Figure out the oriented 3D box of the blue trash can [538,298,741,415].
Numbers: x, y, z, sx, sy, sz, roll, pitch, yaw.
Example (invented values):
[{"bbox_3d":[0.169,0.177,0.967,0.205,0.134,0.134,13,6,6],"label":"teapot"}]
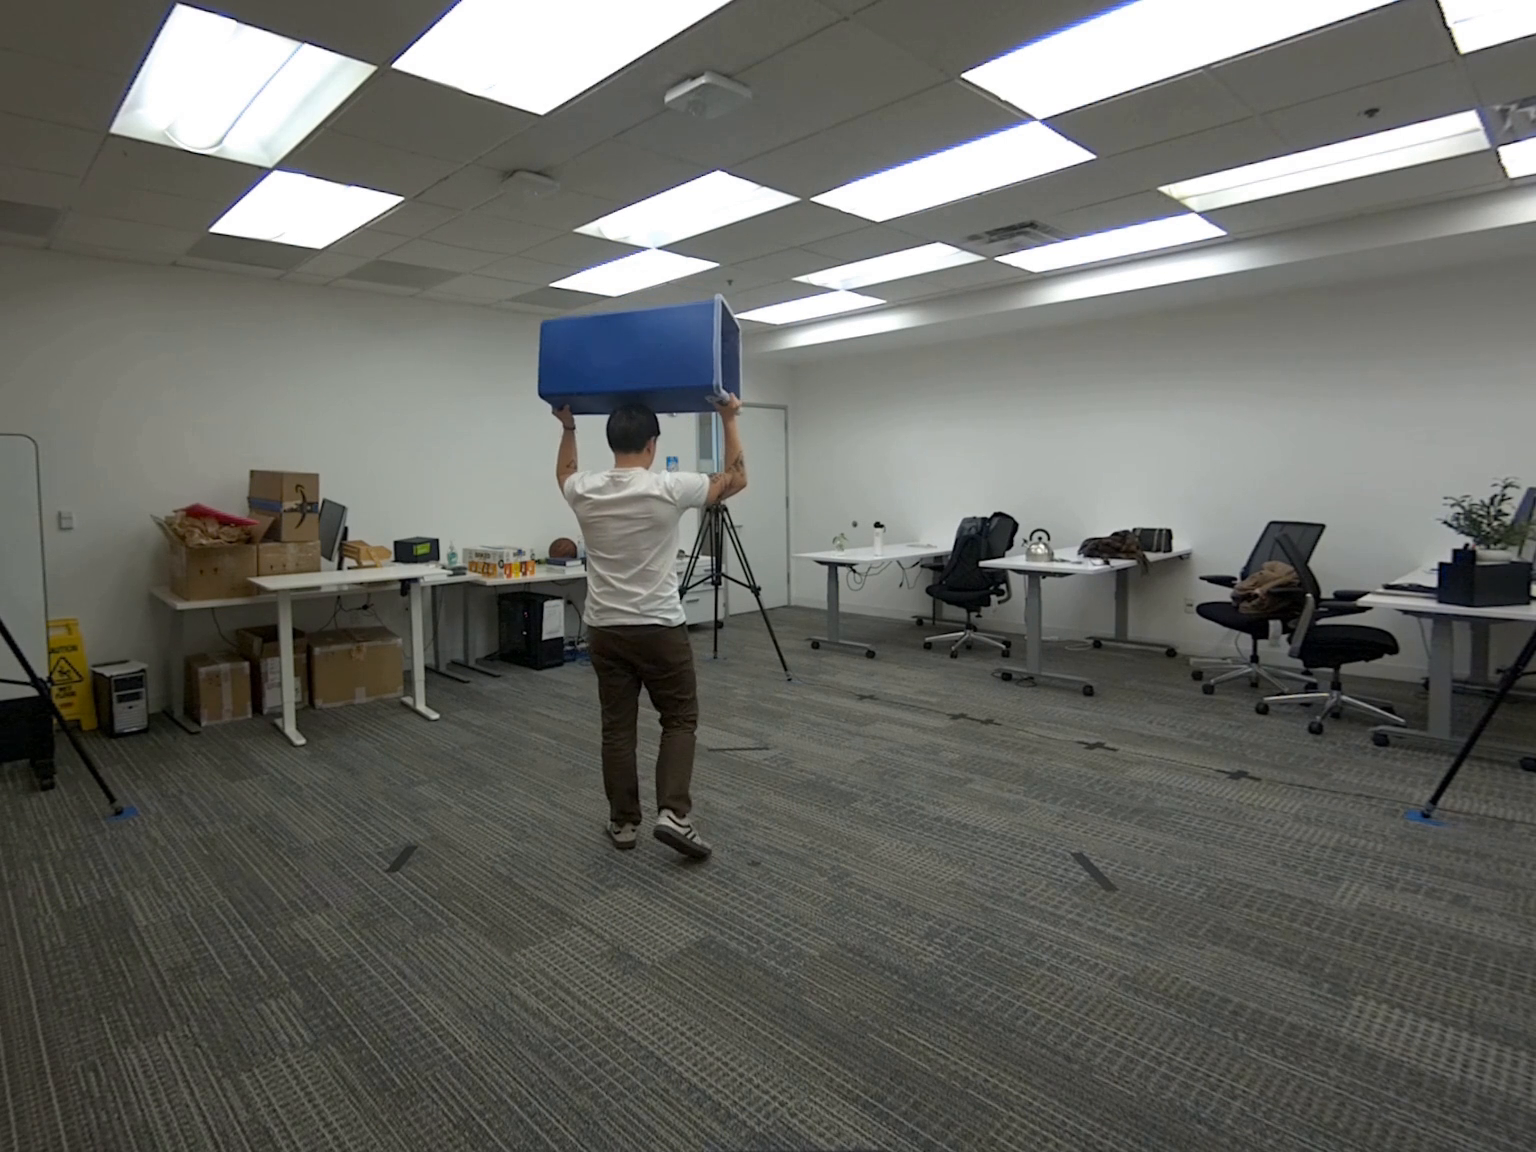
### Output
[{"bbox_3d":[-0.482,-0.827,3.282,0.723,0.380,0.367,0,-6,13],"label":"blue trash can"}]
